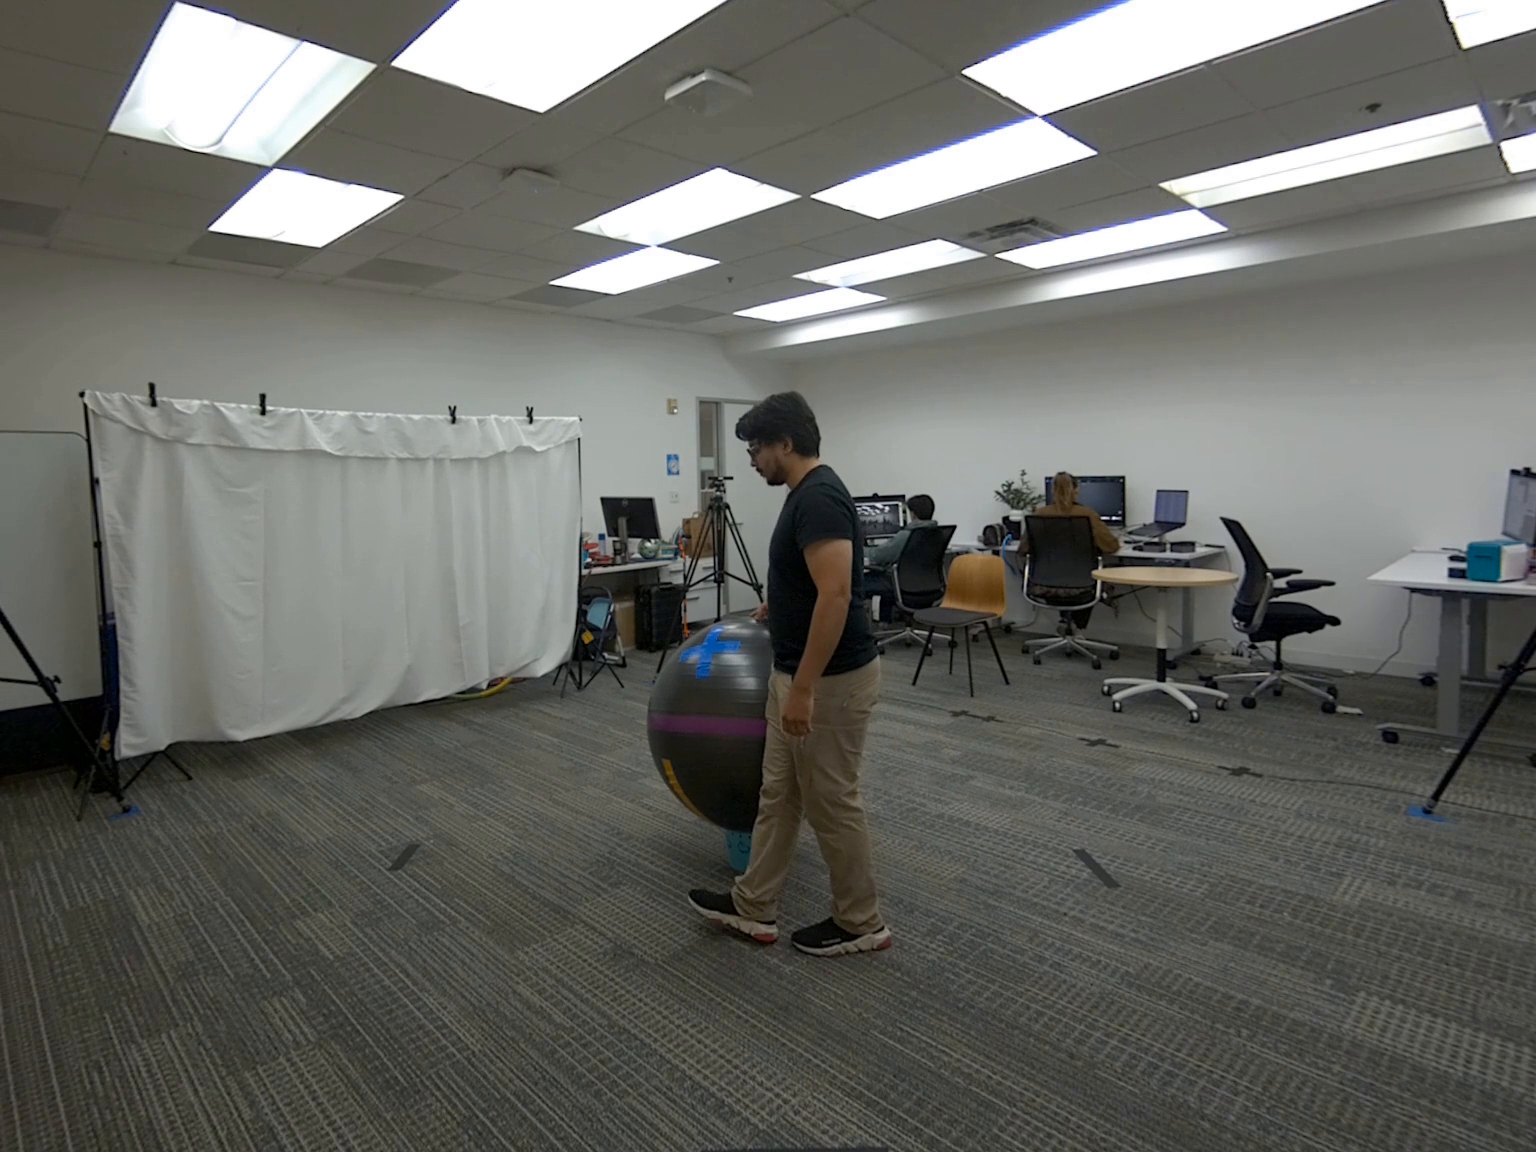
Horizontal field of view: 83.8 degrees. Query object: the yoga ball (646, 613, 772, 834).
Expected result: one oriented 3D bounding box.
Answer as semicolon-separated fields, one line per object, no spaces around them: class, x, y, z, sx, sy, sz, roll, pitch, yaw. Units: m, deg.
yoga ball;-0.066;0.534;3.096;0.757;0.755;0.762;-1;5;-2
